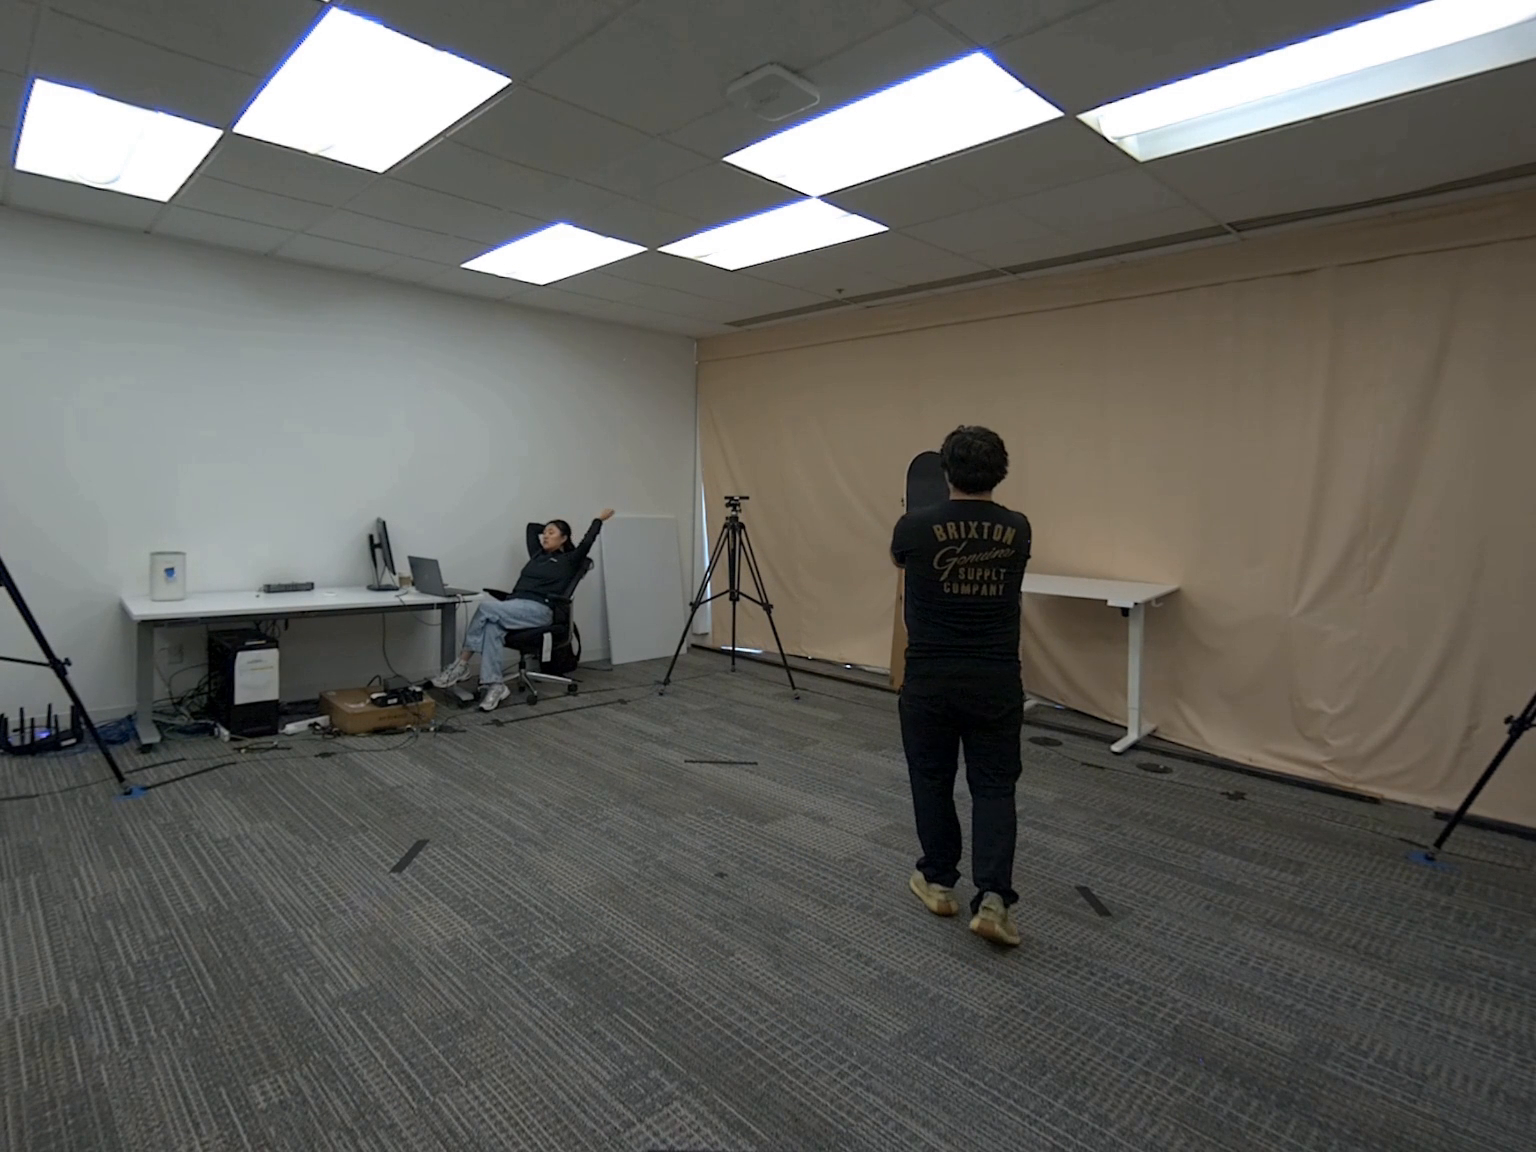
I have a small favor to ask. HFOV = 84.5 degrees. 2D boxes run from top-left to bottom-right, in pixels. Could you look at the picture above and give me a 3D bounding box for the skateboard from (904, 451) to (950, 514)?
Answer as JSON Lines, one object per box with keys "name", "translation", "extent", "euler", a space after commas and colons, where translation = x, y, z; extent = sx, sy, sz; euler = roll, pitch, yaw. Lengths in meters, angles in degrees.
{"name": "skateboard", "translation": [0.635, -0.105, 3.390], "extent": [0.193, 0.790, 0.109], "euler": [2, -8, 0]}
